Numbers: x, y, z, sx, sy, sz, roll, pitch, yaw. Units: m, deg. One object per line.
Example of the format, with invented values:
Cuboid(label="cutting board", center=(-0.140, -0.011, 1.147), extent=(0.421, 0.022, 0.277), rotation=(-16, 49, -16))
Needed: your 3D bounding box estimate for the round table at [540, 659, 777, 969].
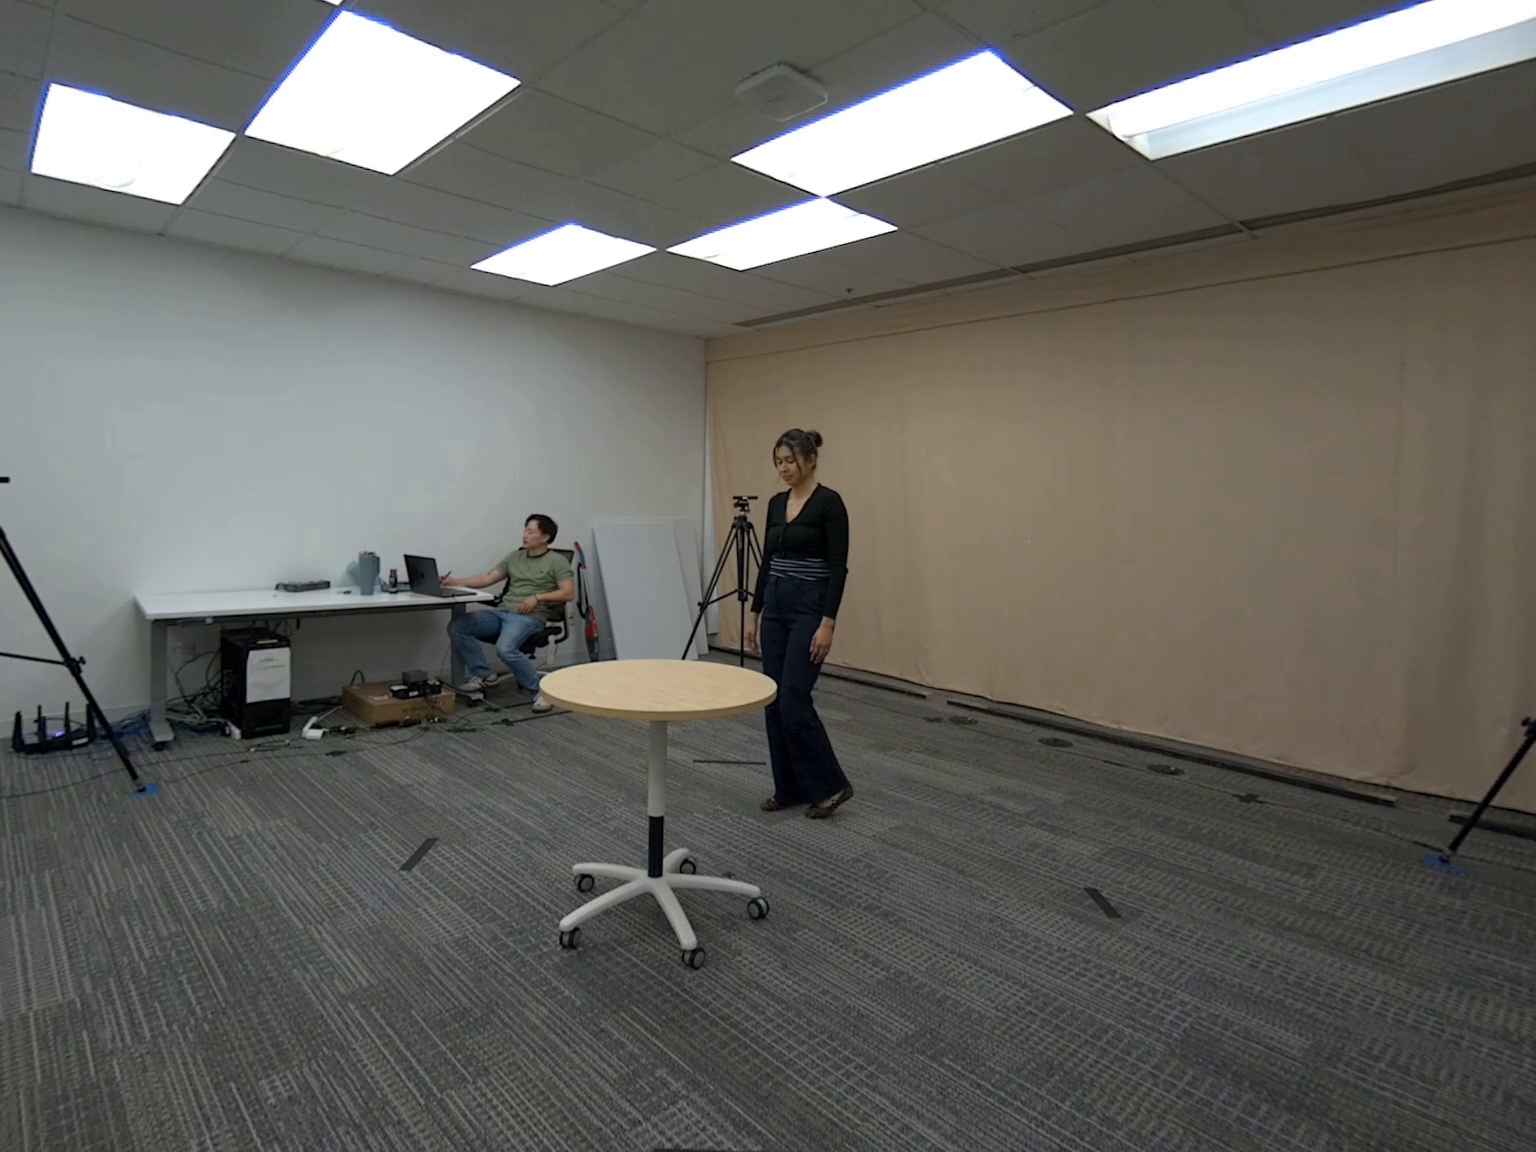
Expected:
Cuboid(label="round table", center=(-0.371, 0.742, 2.755), extent=(0.763, 0.792, 0.766), rotation=(1, 4, -1))
